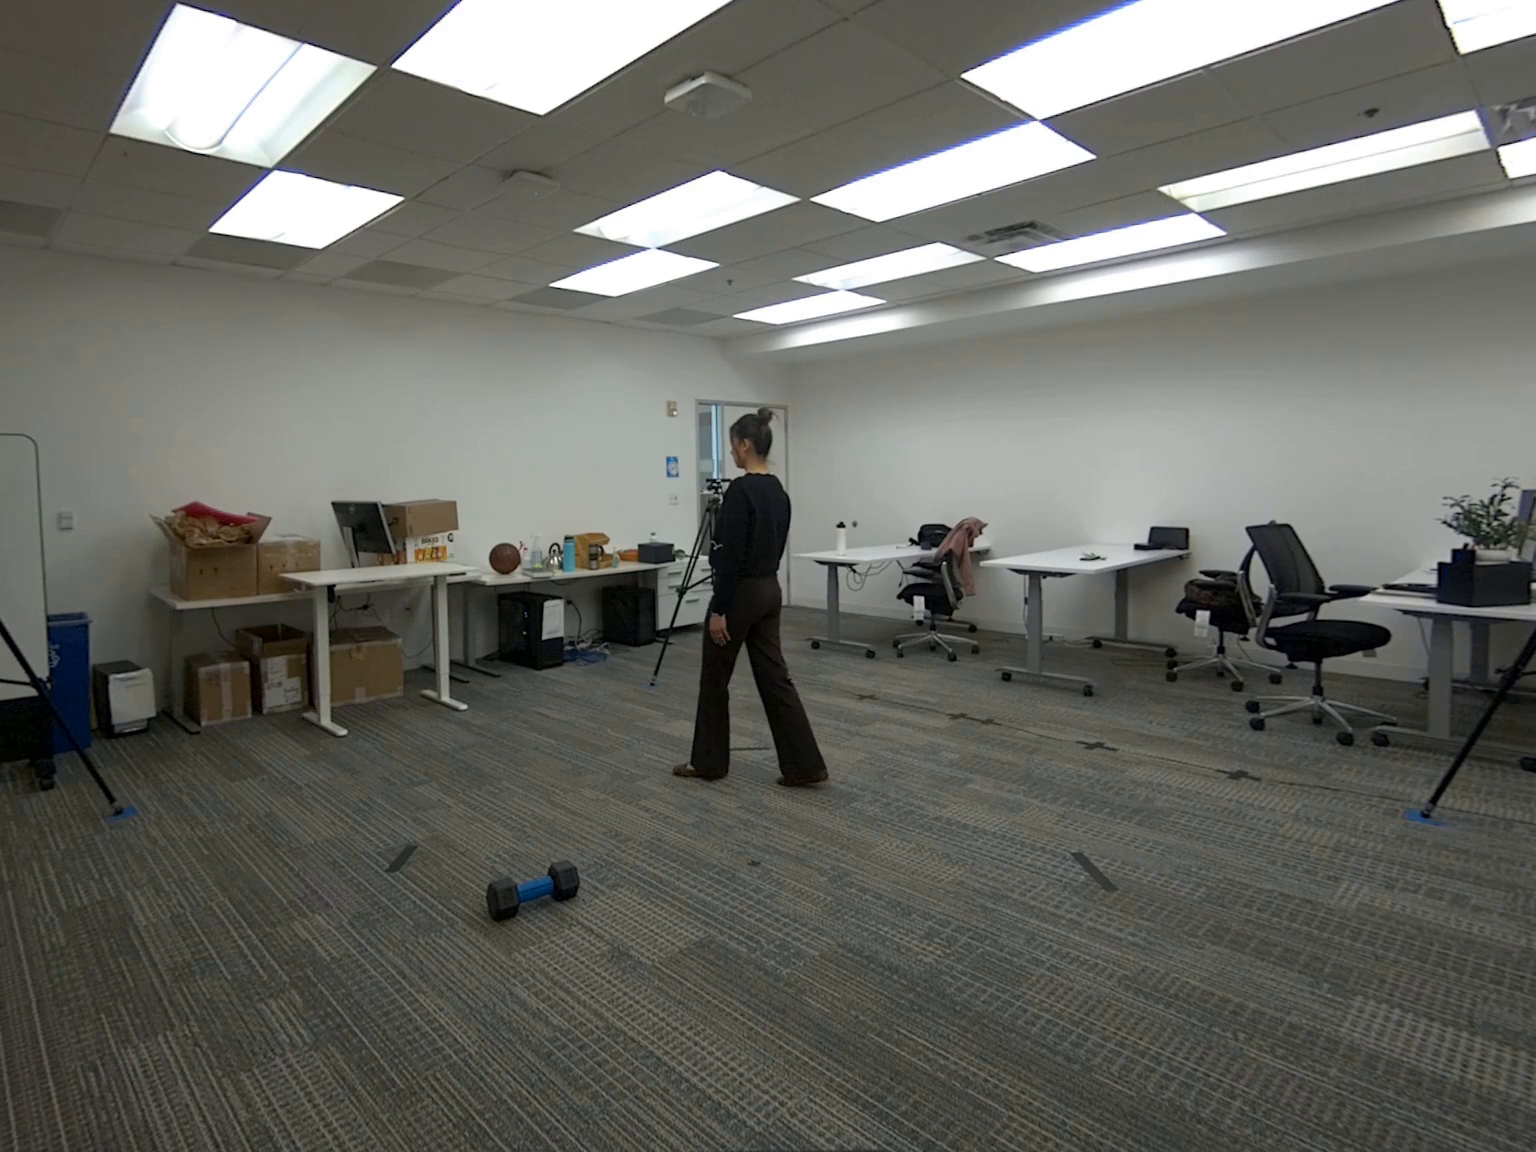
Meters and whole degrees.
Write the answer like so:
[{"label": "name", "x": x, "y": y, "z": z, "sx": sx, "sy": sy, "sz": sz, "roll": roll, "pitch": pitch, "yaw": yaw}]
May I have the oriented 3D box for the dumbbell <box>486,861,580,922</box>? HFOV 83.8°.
[{"label": "dumbbell", "x": -0.771, "y": 1.037, "z": 2.823, "sx": 0.286, "sy": 0.126, "sz": 0.109, "roll": -6, "pitch": -24, "yaw": -36}]
